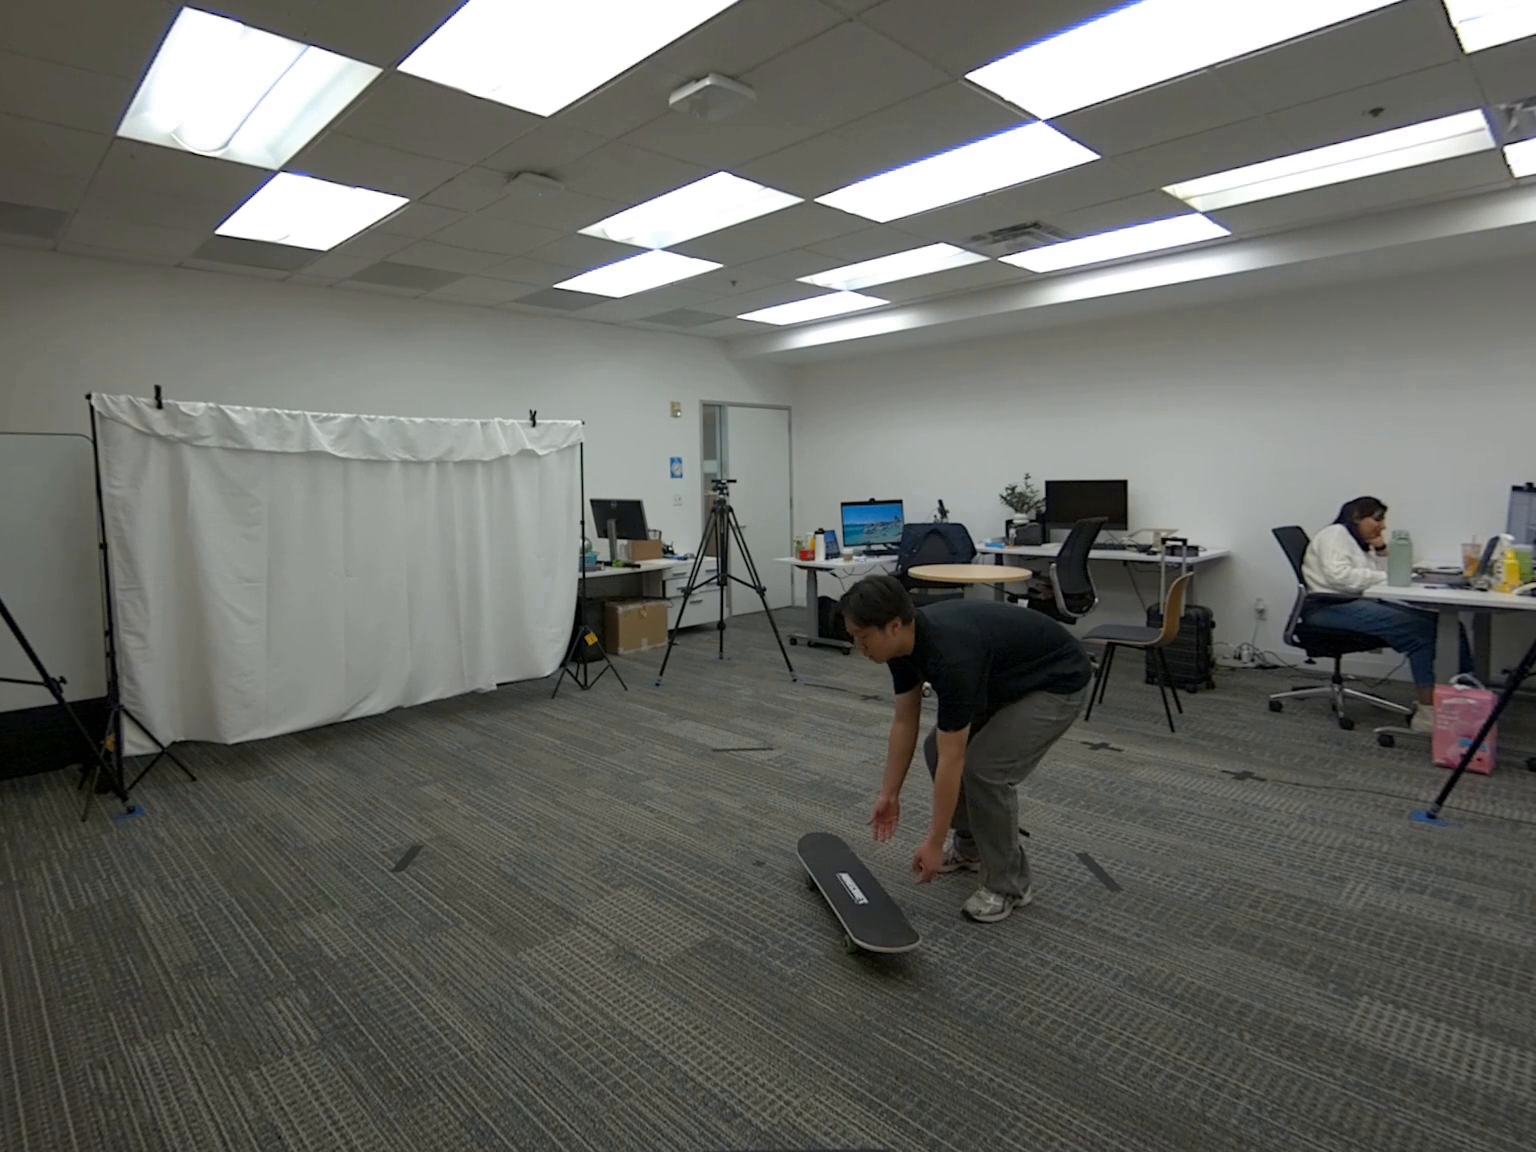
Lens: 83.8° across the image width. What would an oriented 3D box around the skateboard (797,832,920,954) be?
[{"bbox_3d":[0.278,1.027,2.729,0.191,0.110,0.798,-2,6,-13],"label":"skateboard"}]
